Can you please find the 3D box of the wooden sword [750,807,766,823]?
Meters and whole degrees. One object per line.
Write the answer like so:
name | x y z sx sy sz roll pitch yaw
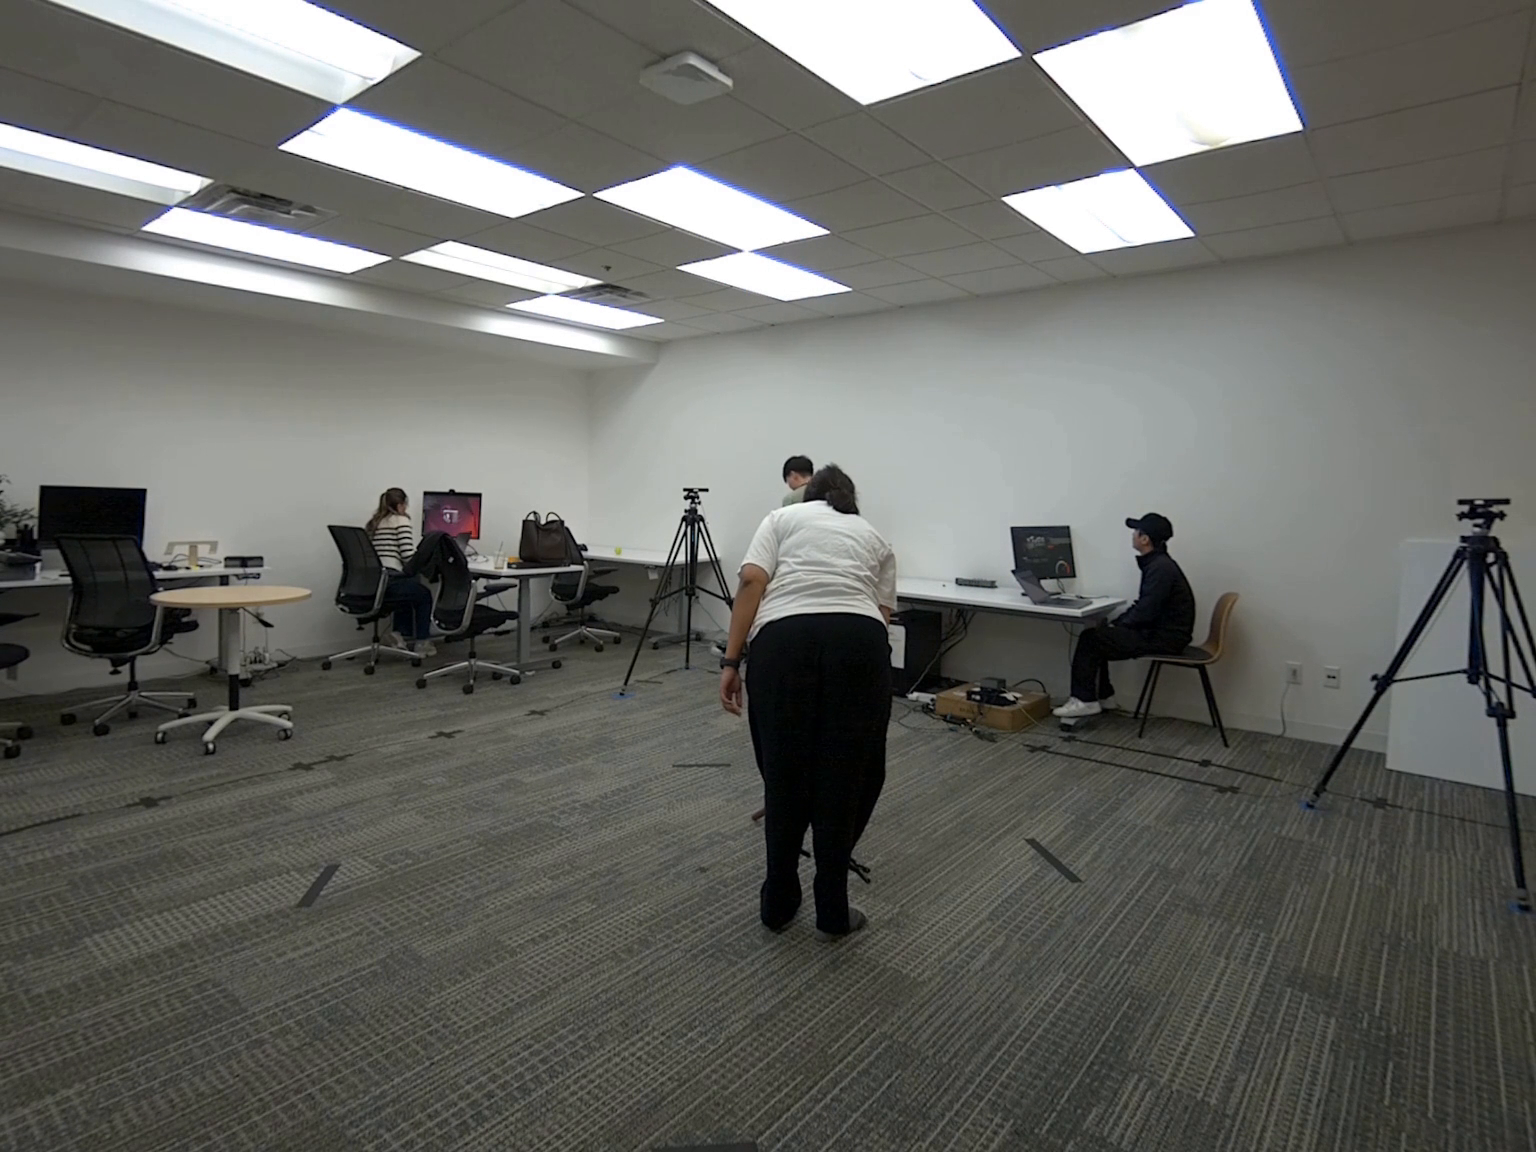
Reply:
wooden sword | 0.111 0.755 3.208 0.050 0.024 1.019 -24 -18 -36
